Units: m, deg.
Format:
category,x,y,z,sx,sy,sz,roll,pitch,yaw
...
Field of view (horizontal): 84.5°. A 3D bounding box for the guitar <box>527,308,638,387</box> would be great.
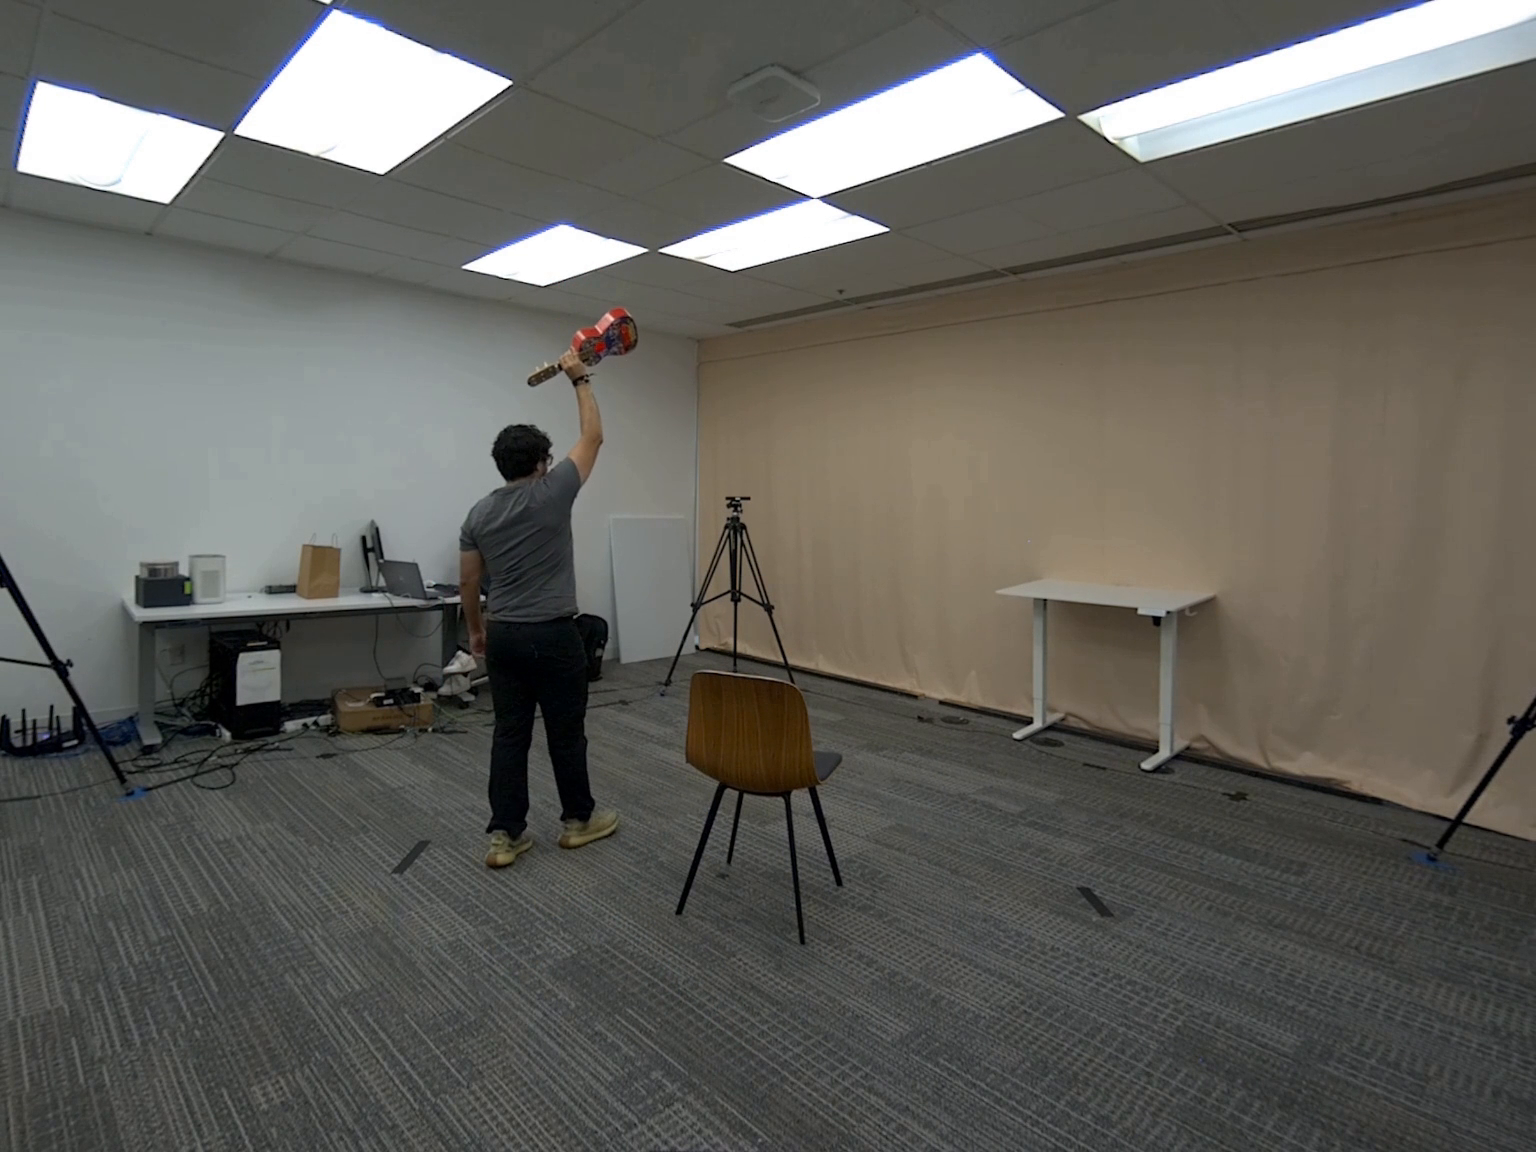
category,x,y,z,sx,sy,sz,roll,pitch,yaw
guitar,-0.755,-0.918,3.354,0.494,0.189,0.073,-28,59,-22
